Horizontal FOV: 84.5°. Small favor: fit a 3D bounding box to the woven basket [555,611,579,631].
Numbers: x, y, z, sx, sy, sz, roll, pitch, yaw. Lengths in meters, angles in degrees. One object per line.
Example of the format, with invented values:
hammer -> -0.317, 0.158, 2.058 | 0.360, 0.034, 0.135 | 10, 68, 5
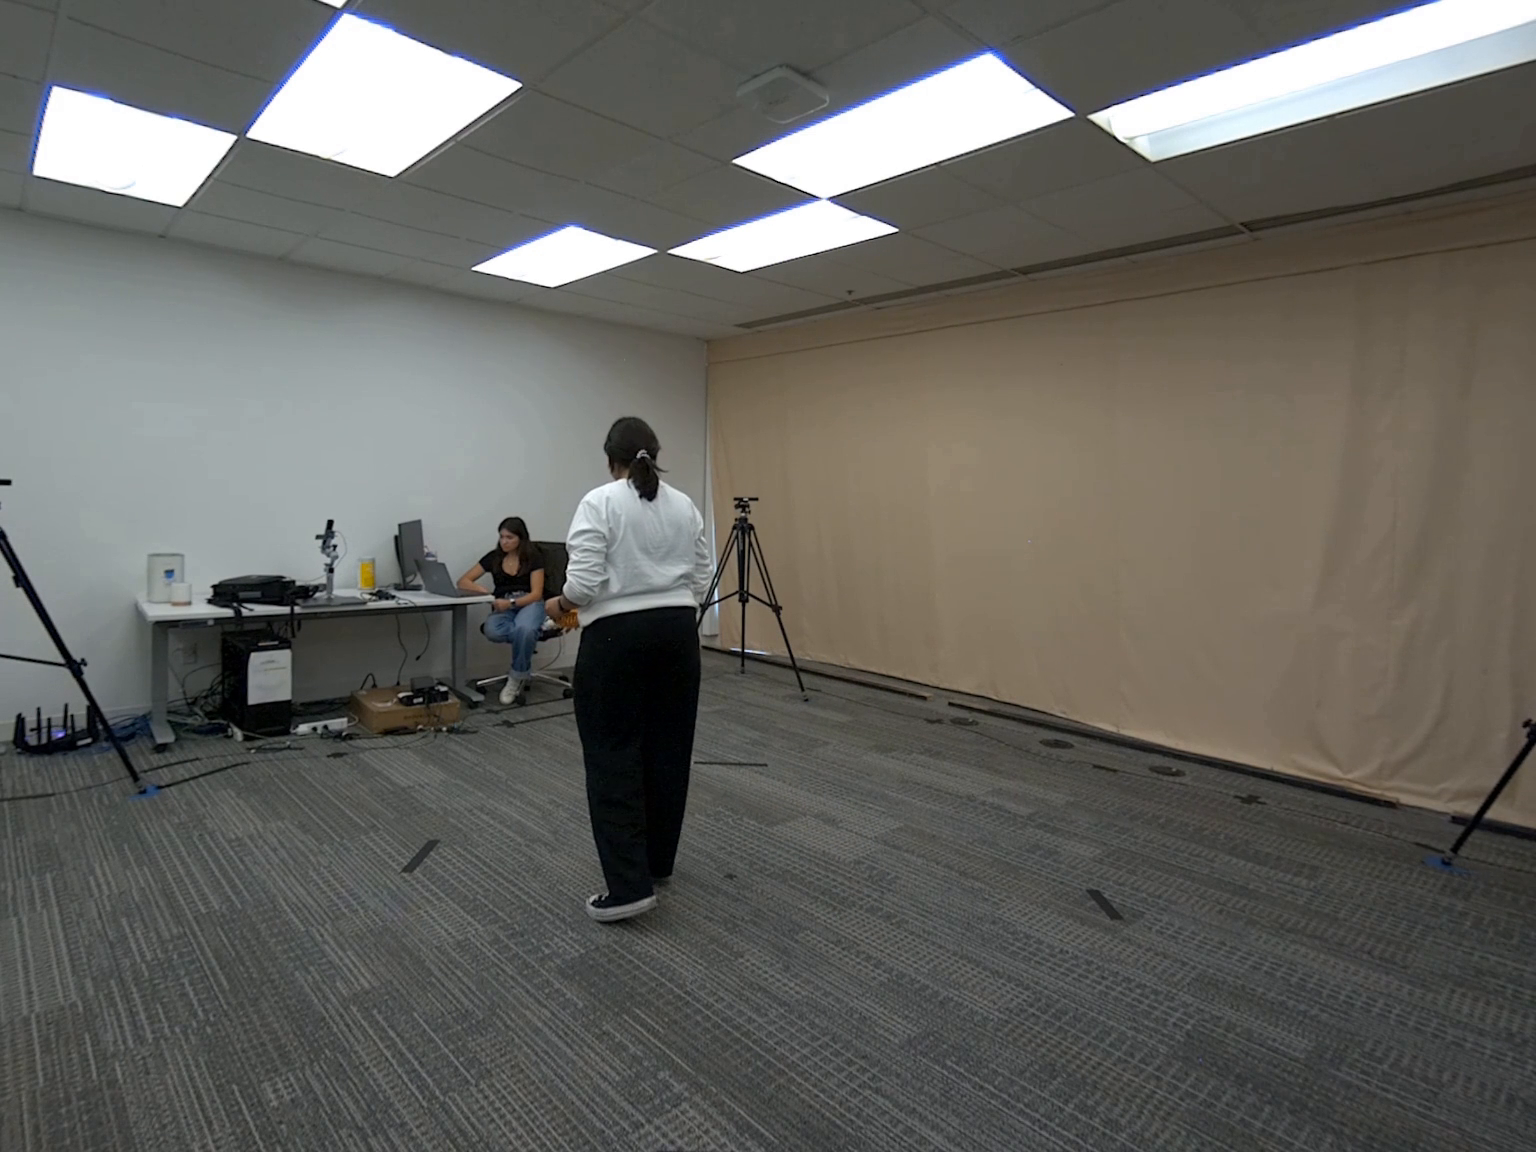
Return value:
woven basket -> -0.688, 0.149, 3.196 | 0.343, 0.073, 0.259 | -2, 9, -35
